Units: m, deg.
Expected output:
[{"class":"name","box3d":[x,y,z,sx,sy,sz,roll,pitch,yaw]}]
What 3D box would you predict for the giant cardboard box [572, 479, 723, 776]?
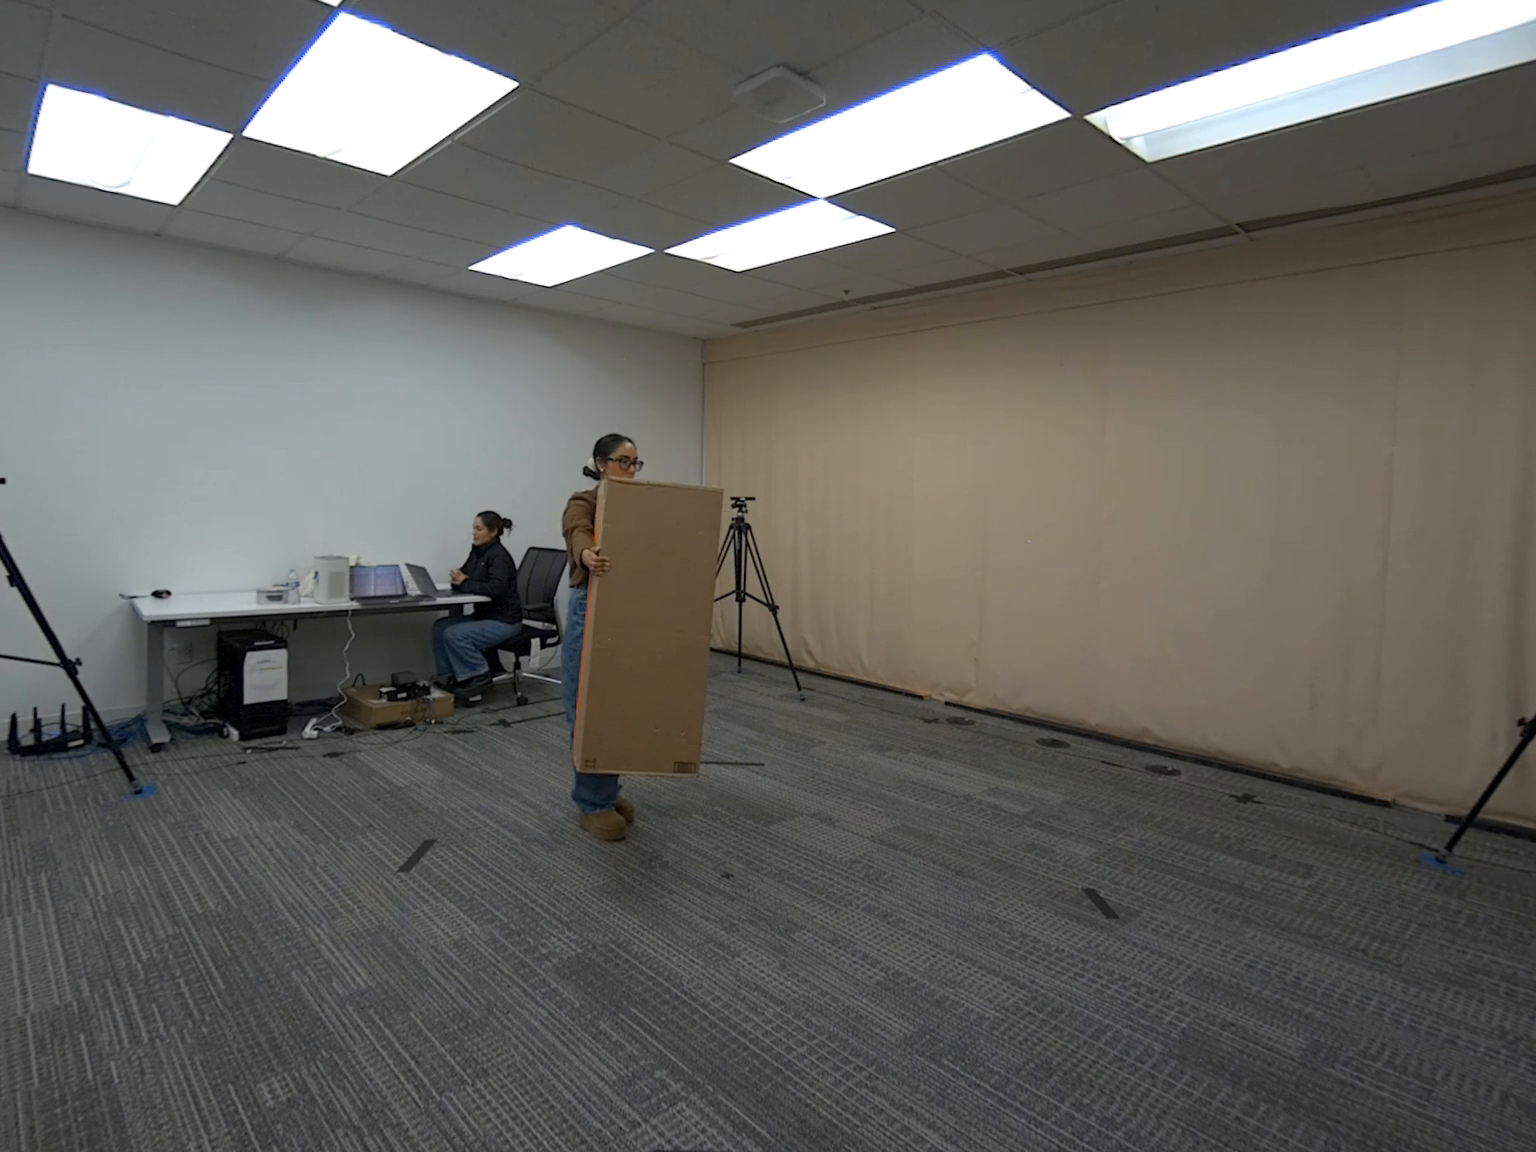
[{"class":"giant cardboard box","box3d":[-0.474,0.184,3.209,0.421,1.027,0.583,5,-2,-14]}]
